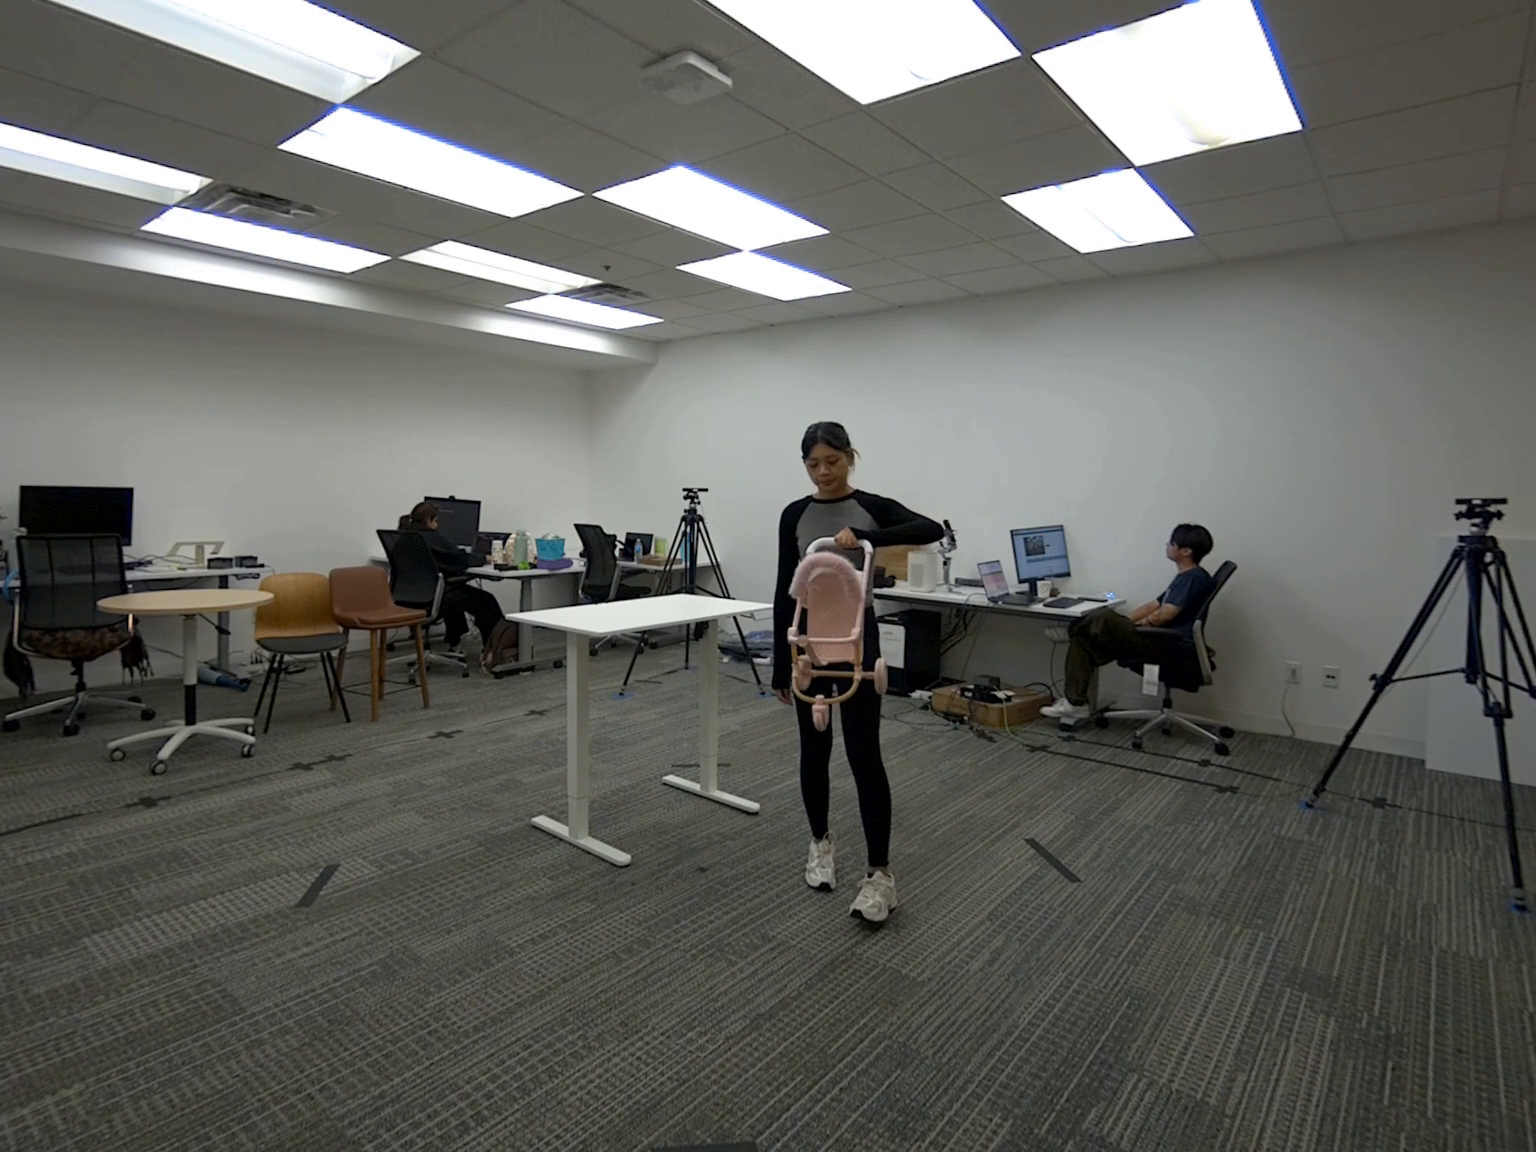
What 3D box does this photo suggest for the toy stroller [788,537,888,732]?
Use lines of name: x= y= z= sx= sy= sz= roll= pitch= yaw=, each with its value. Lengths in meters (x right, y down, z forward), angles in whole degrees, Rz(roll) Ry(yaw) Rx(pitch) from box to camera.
toy stroller: x=0.182 y=0.162 z=2.534 sx=0.288 sy=0.533 sz=0.334 roll=-1 pitch=4 yaw=24
